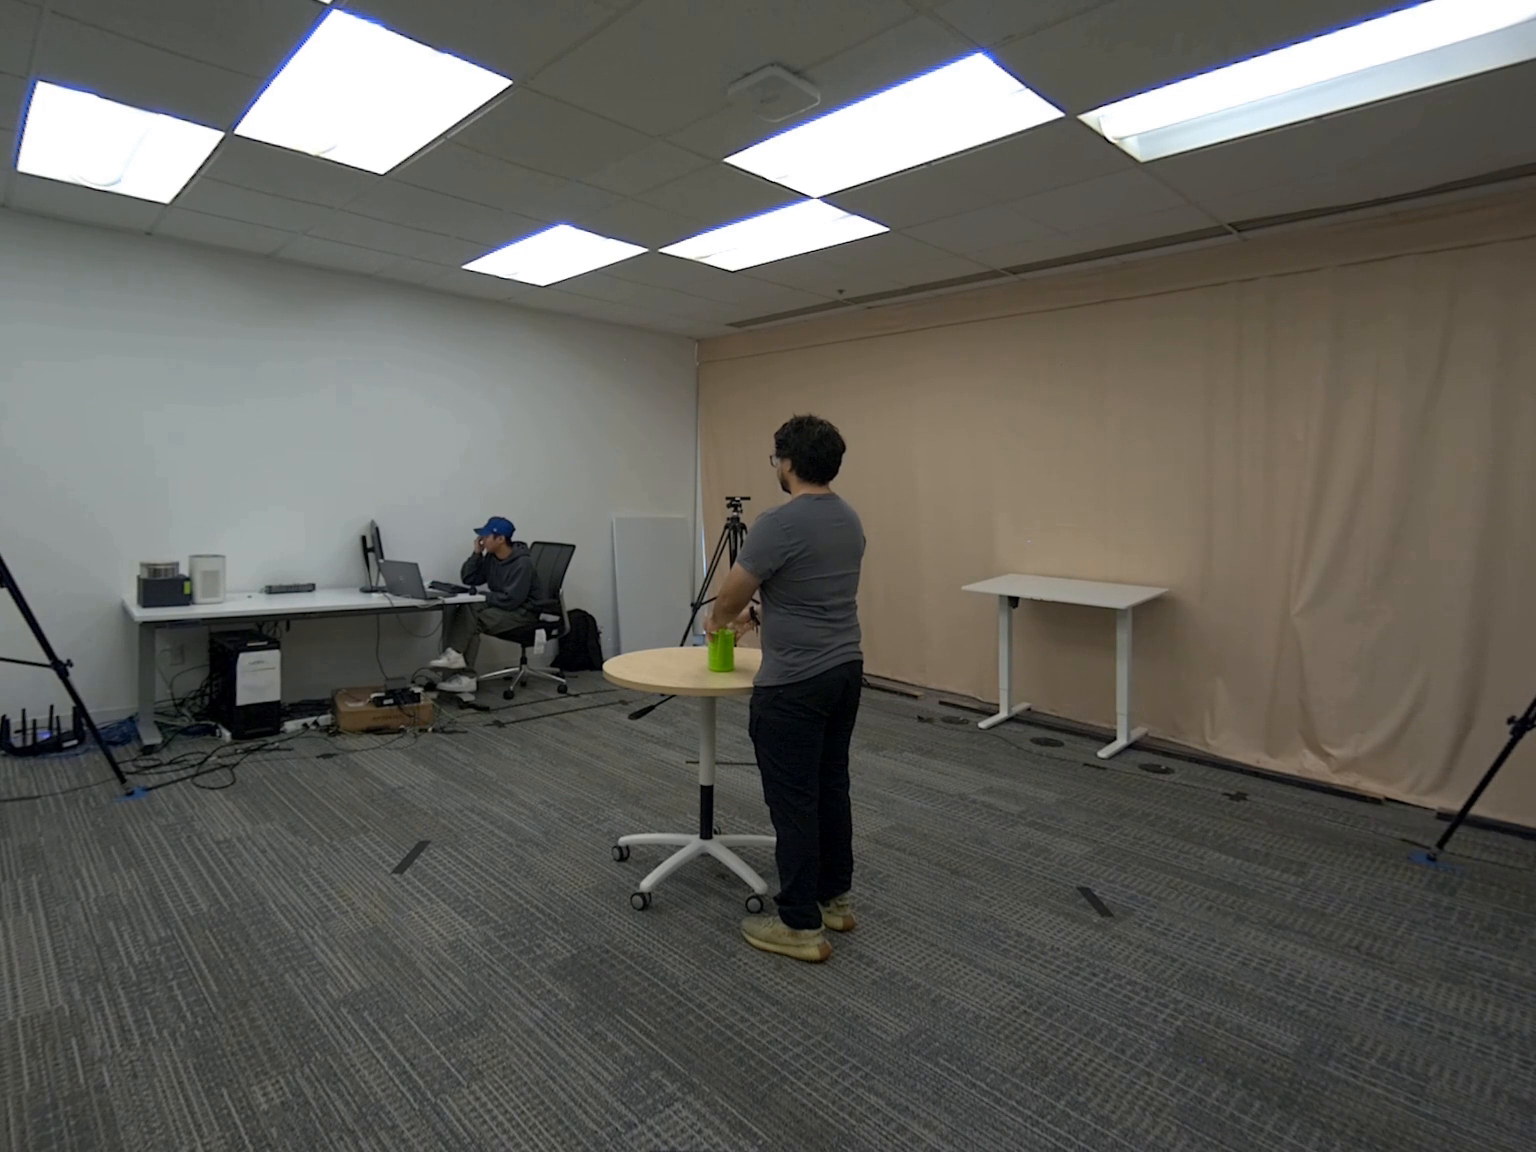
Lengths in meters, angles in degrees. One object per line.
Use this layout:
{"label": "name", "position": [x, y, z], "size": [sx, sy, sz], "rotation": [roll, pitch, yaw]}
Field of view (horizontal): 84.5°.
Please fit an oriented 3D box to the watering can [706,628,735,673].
{"label": "watering can", "position": [-0.179, 0.255, 2.954], "size": [0.099, 0.176, 0.276], "rotation": [2, 4, 10]}
